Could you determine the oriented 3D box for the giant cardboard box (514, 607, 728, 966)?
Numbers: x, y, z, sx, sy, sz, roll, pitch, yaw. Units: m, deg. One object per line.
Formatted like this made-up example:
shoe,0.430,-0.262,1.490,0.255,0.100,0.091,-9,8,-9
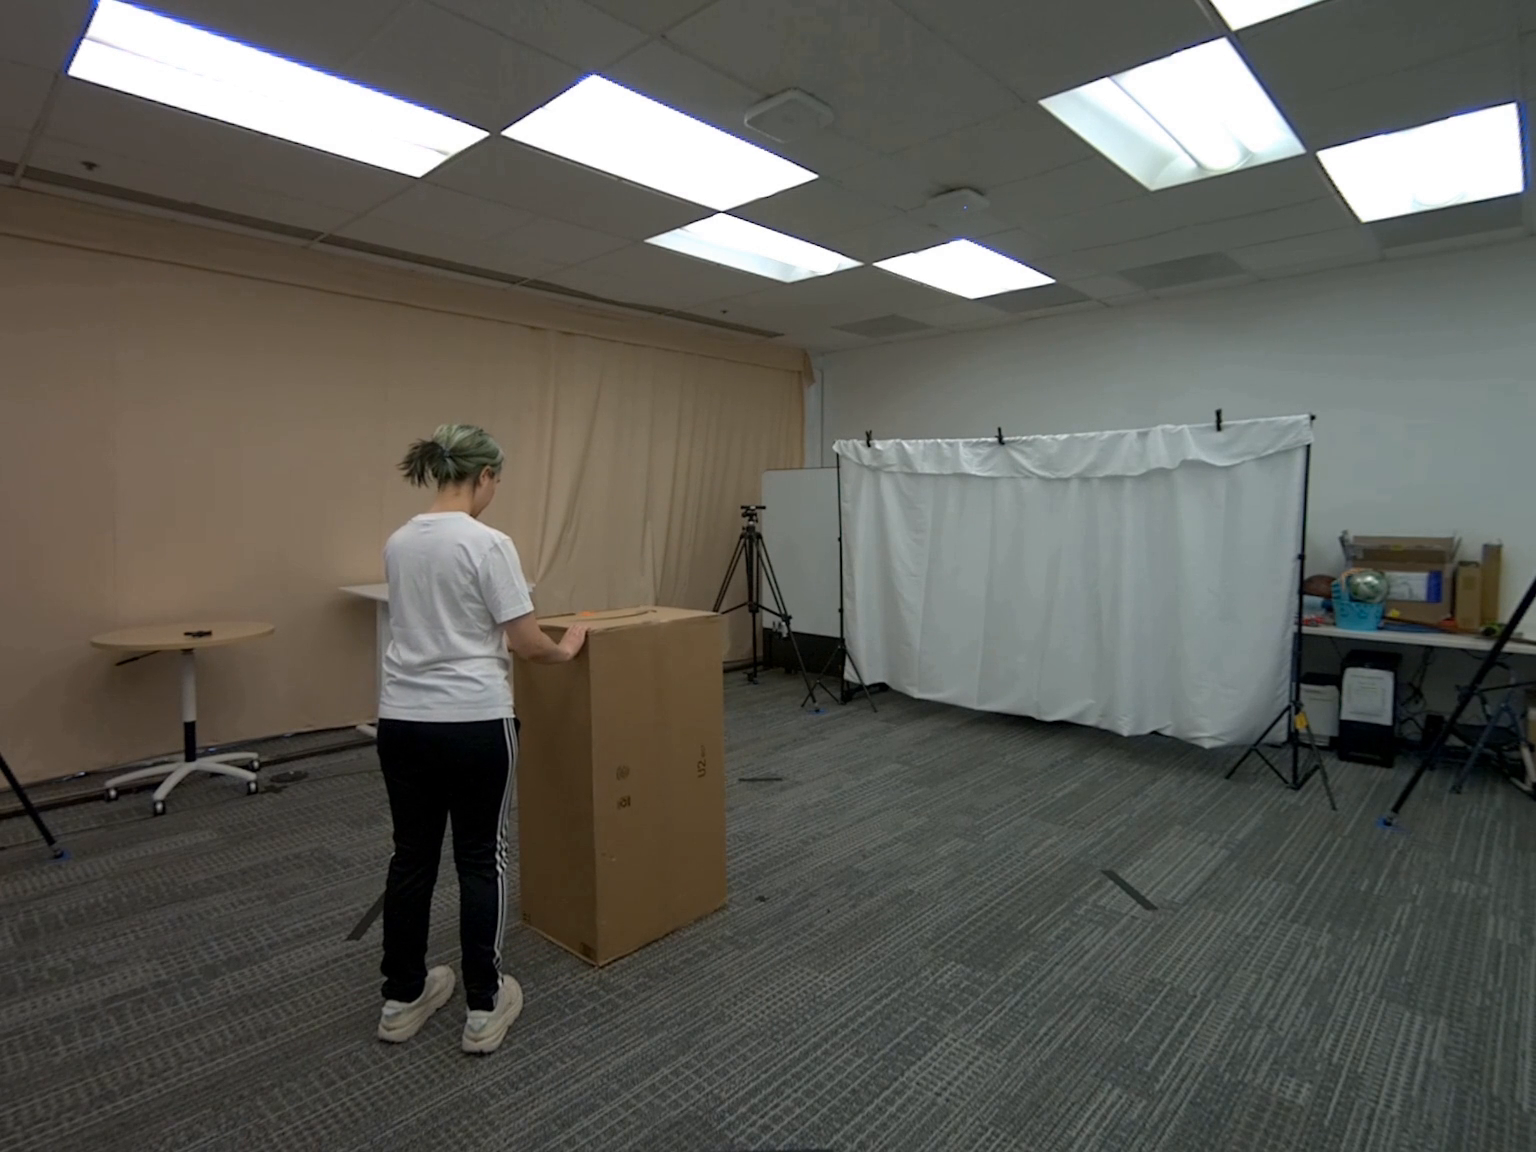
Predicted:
giant cardboard box,-0.494,0.649,2.862,0.461,1.025,0.566,2,4,42
